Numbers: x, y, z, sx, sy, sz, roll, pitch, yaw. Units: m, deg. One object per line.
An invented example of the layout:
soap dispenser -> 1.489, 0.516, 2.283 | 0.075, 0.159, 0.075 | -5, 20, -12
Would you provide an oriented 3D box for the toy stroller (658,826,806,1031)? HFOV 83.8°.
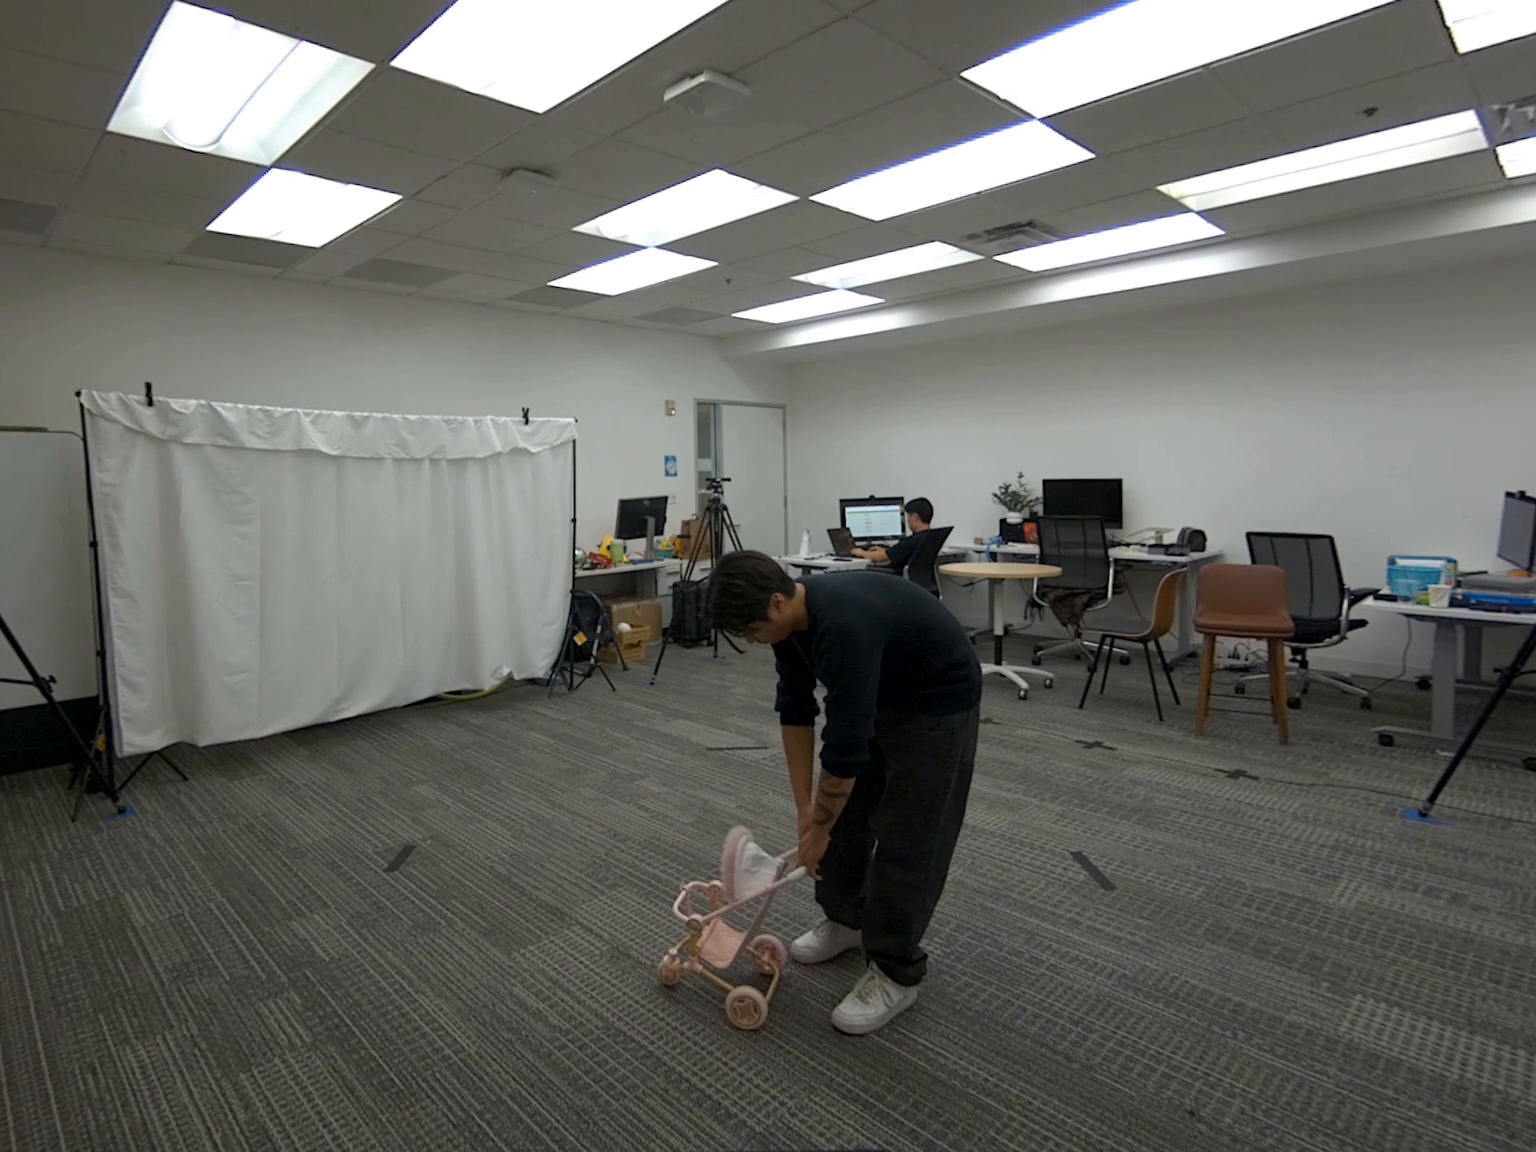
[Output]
toy stroller -> -0.089, 0.913, 2.304 | 0.348, 0.532, 0.277 | 17, 10, 17
